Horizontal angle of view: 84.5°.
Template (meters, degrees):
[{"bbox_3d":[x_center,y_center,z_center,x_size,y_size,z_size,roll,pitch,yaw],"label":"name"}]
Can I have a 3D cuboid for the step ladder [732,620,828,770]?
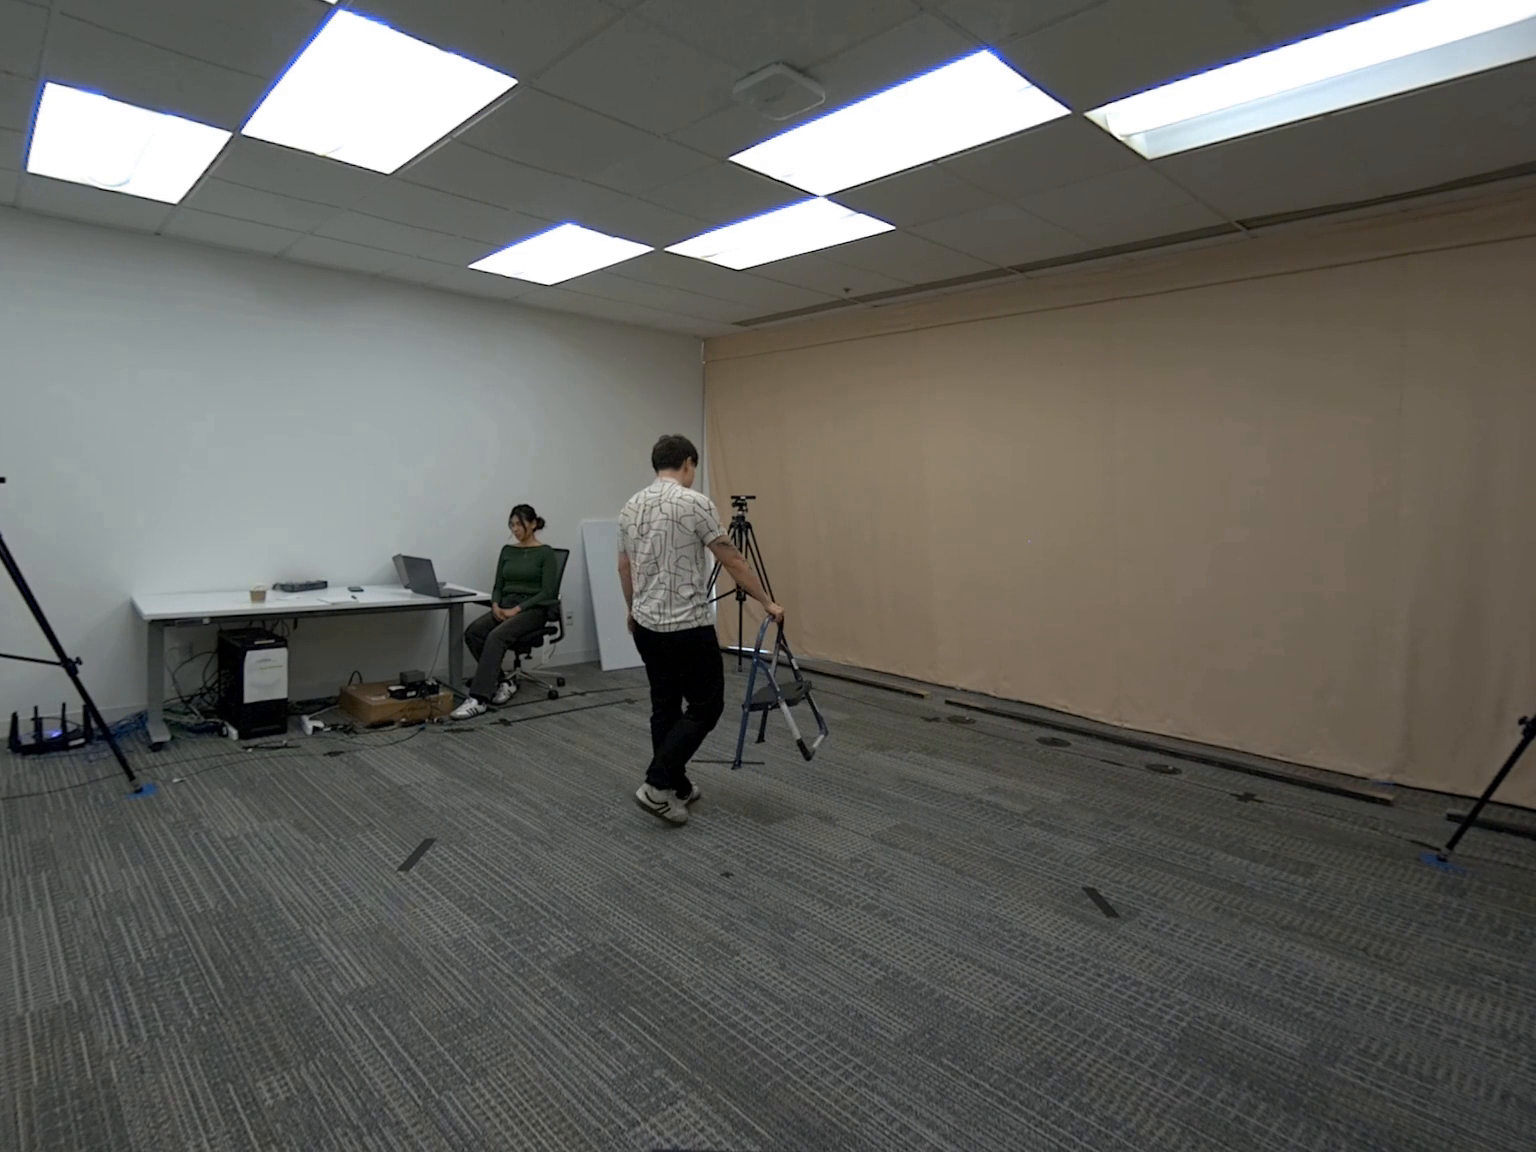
[{"bbox_3d":[-0.012,0.479,3.693,0.353,0.605,0.427,-10,2,15],"label":"step ladder"}]
